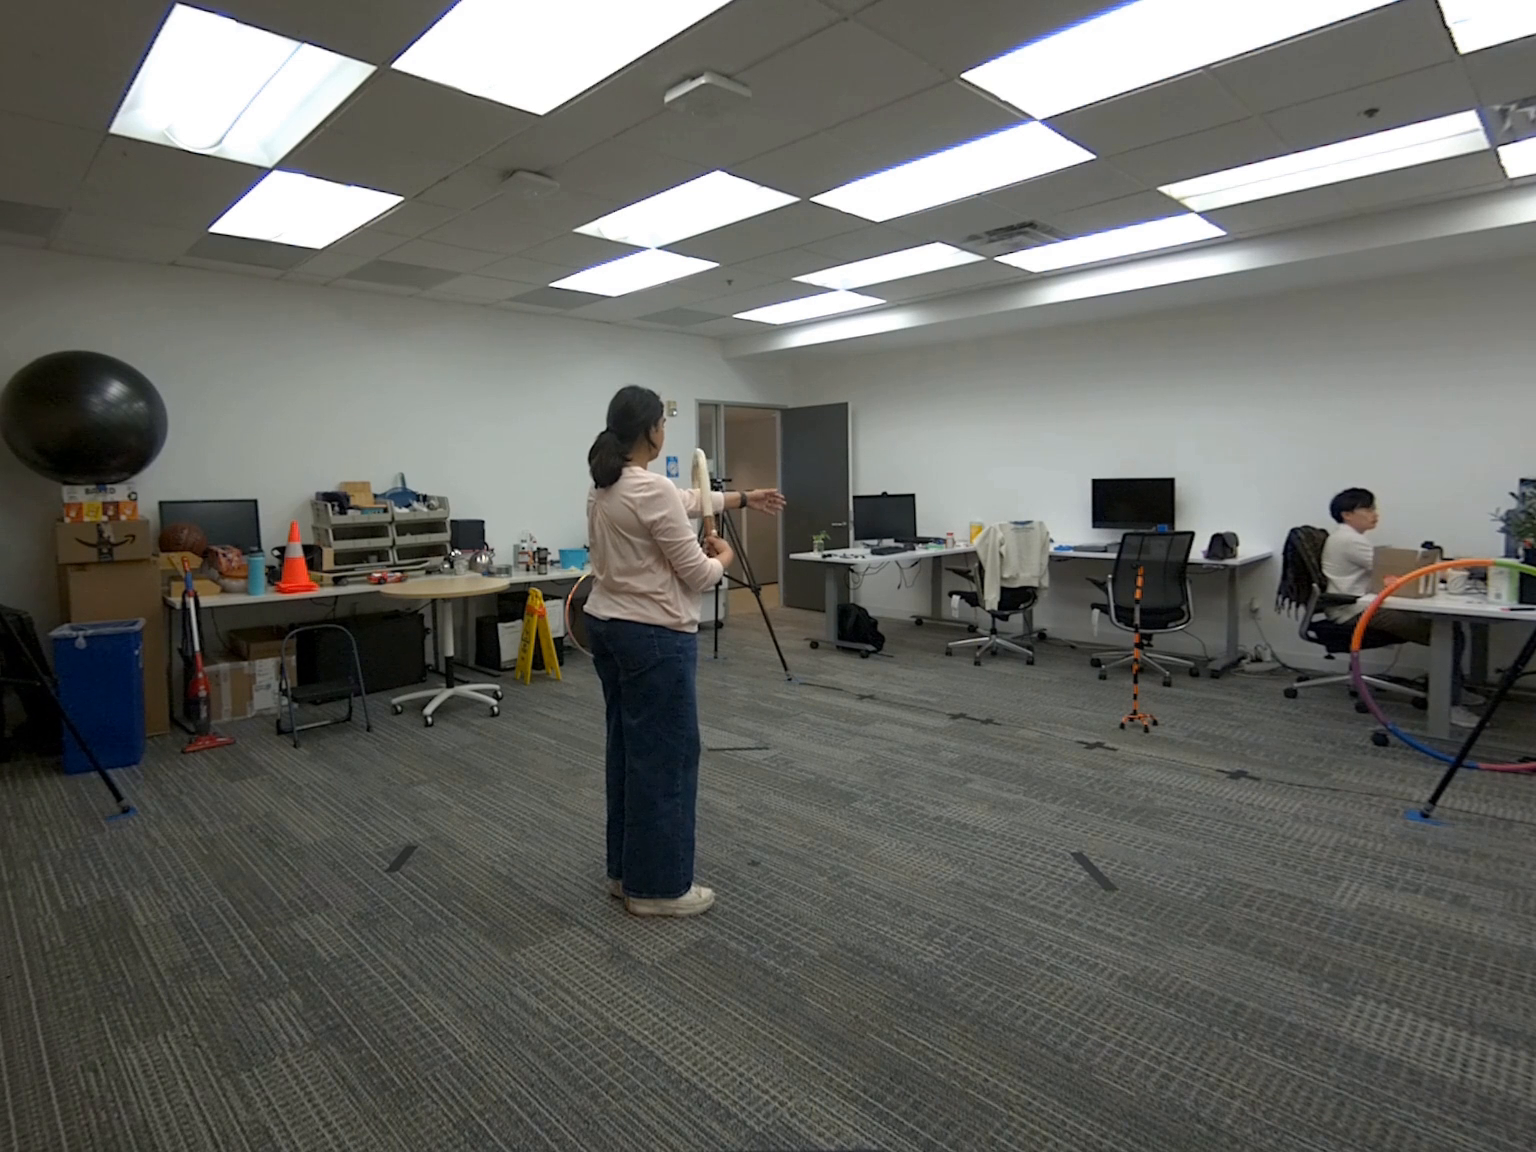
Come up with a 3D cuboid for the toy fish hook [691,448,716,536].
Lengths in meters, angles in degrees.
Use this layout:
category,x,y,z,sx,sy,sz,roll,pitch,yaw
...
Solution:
category,x,y,z,sx,sy,sz,roll,pitch,yaw
toy fish hook,-0.224,-0.229,3.108,0.048,0.520,0.220,-4,-29,-11
